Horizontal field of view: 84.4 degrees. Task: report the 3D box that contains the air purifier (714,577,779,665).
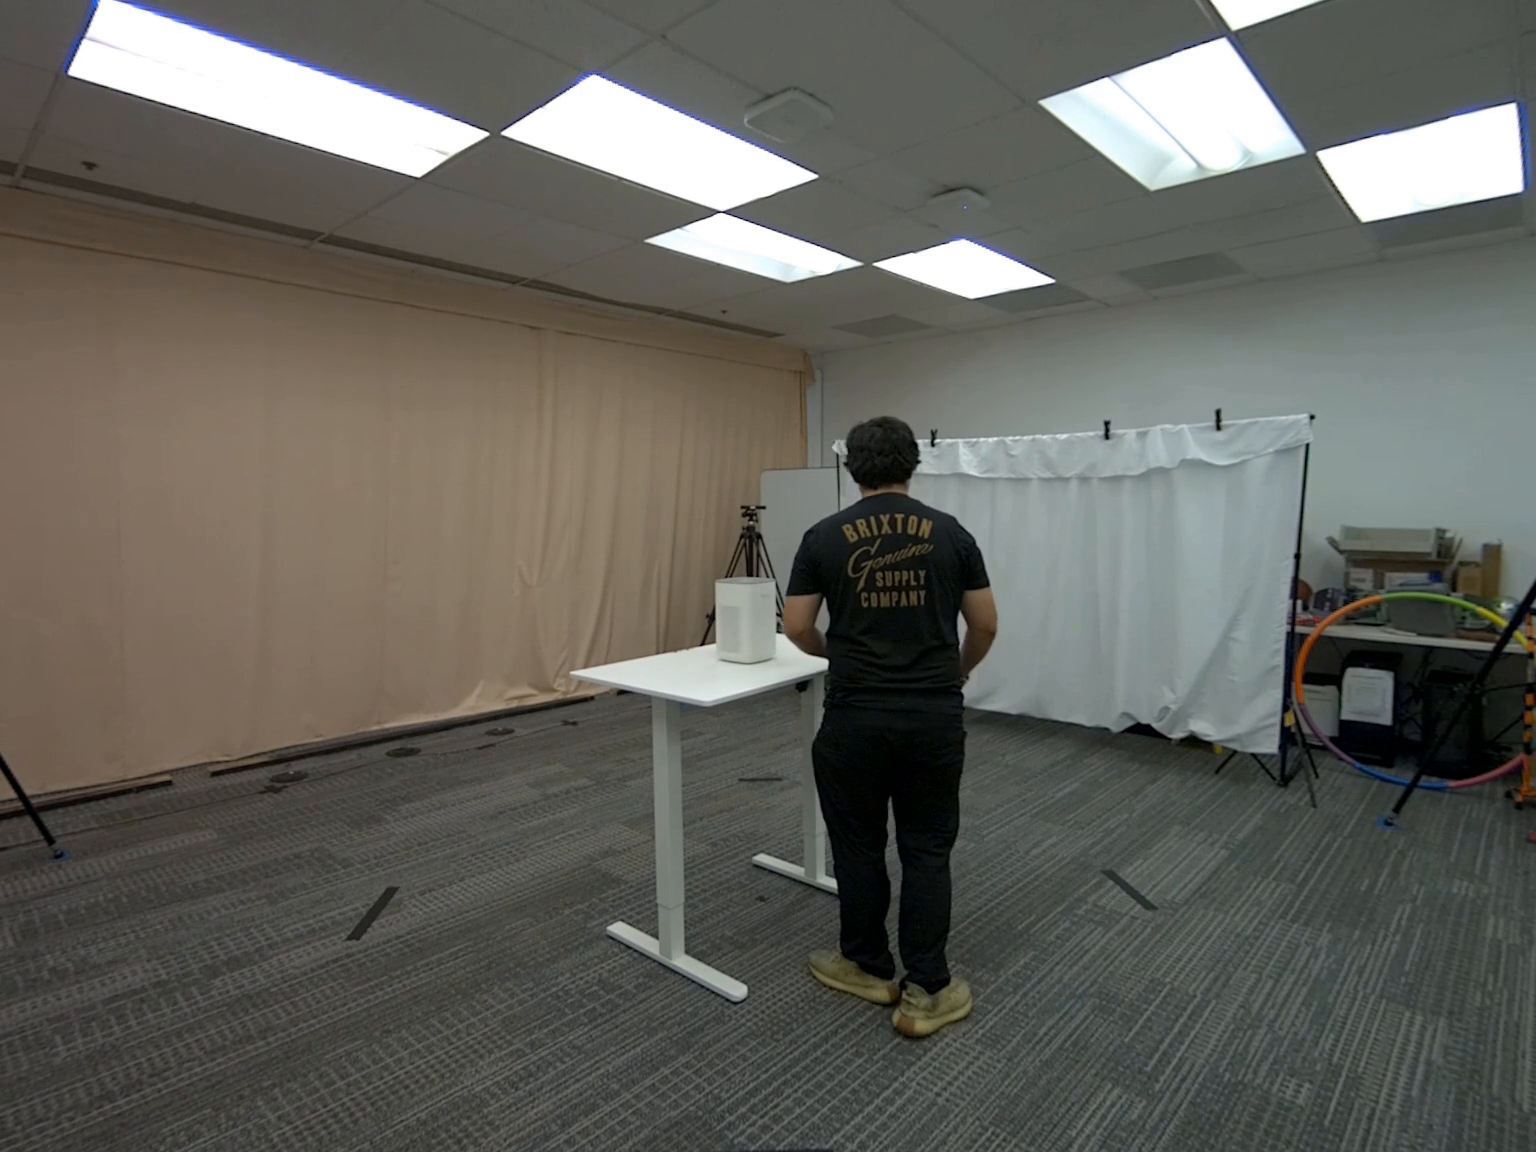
[{"bbox_3d":[-0.068,0.149,2.779,0.177,0.265,0.166,3,4,43],"label":"air purifier"}]
